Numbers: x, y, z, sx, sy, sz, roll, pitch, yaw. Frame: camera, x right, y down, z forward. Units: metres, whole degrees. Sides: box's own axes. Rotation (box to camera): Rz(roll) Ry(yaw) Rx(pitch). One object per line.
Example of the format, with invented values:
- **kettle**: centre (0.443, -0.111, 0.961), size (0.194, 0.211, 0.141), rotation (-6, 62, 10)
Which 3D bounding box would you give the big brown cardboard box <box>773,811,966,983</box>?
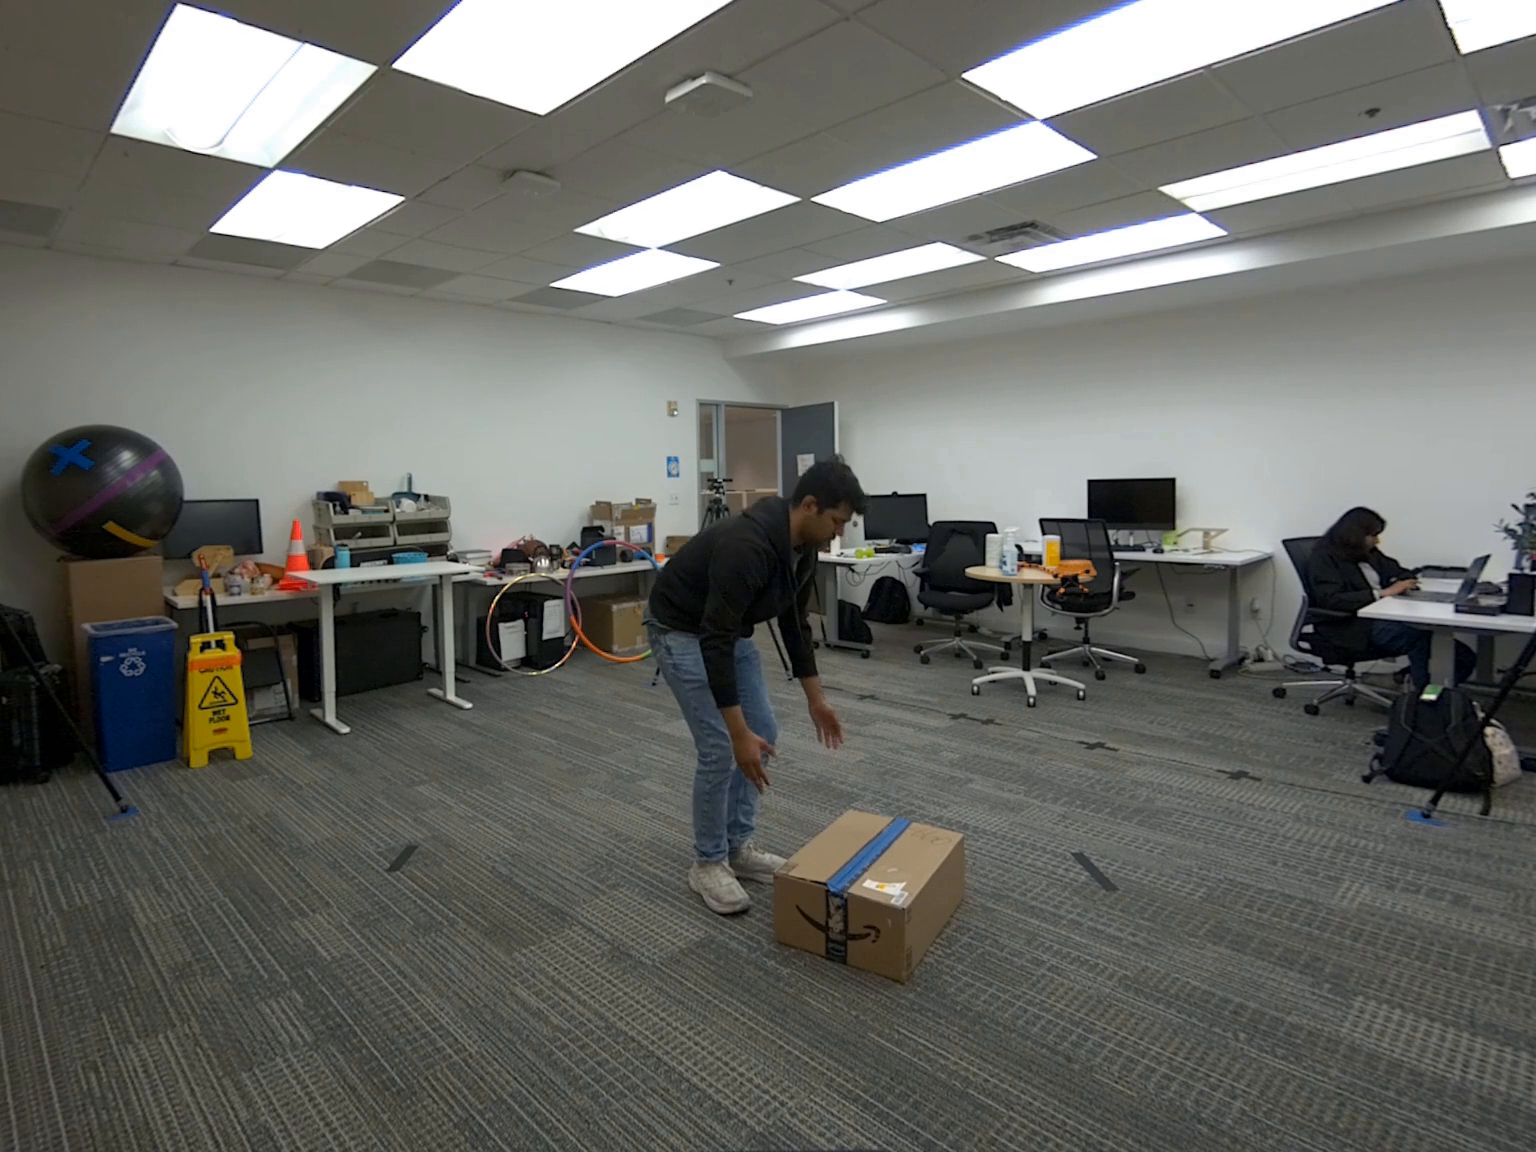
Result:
- **big brown cardboard box**: centre (0.331, 0.975, 2.685), size (0.429, 0.232, 0.576), rotation (2, 6, 30)
